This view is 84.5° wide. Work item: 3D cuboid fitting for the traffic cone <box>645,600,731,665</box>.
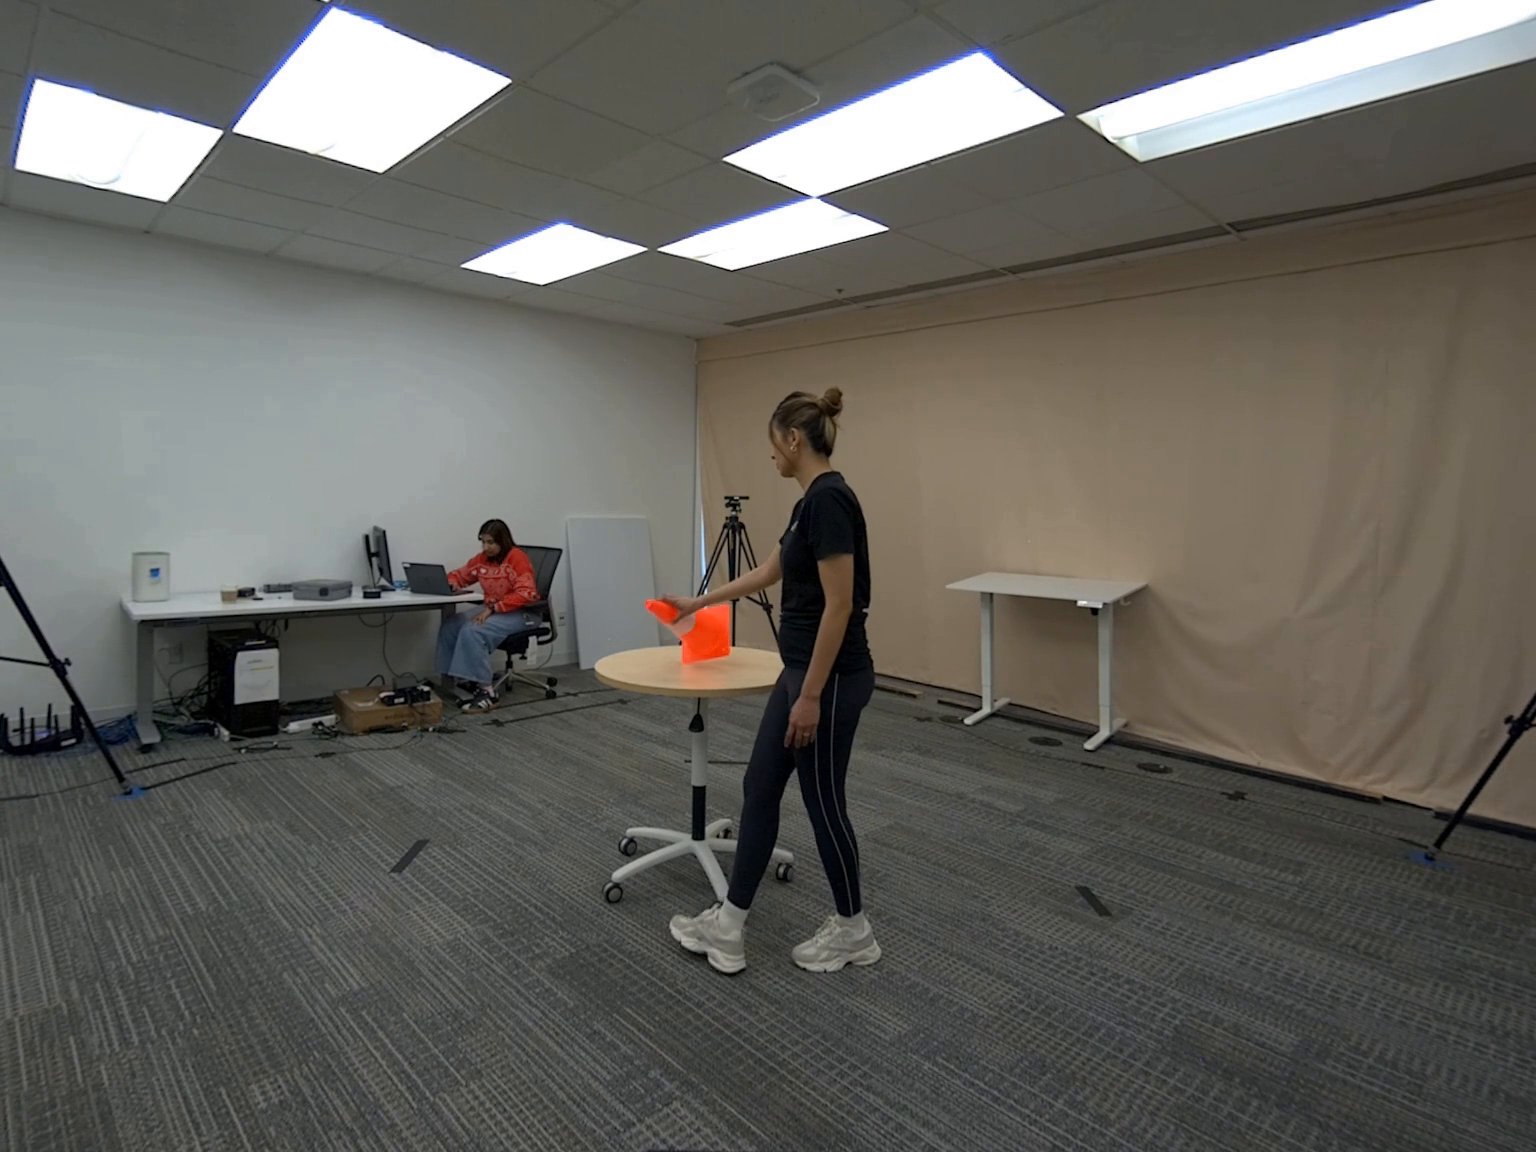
[{"bbox_3d":[-0.321,0.158,2.919,0.208,0.207,0.372,-13,-25,25],"label":"traffic cone"}]
